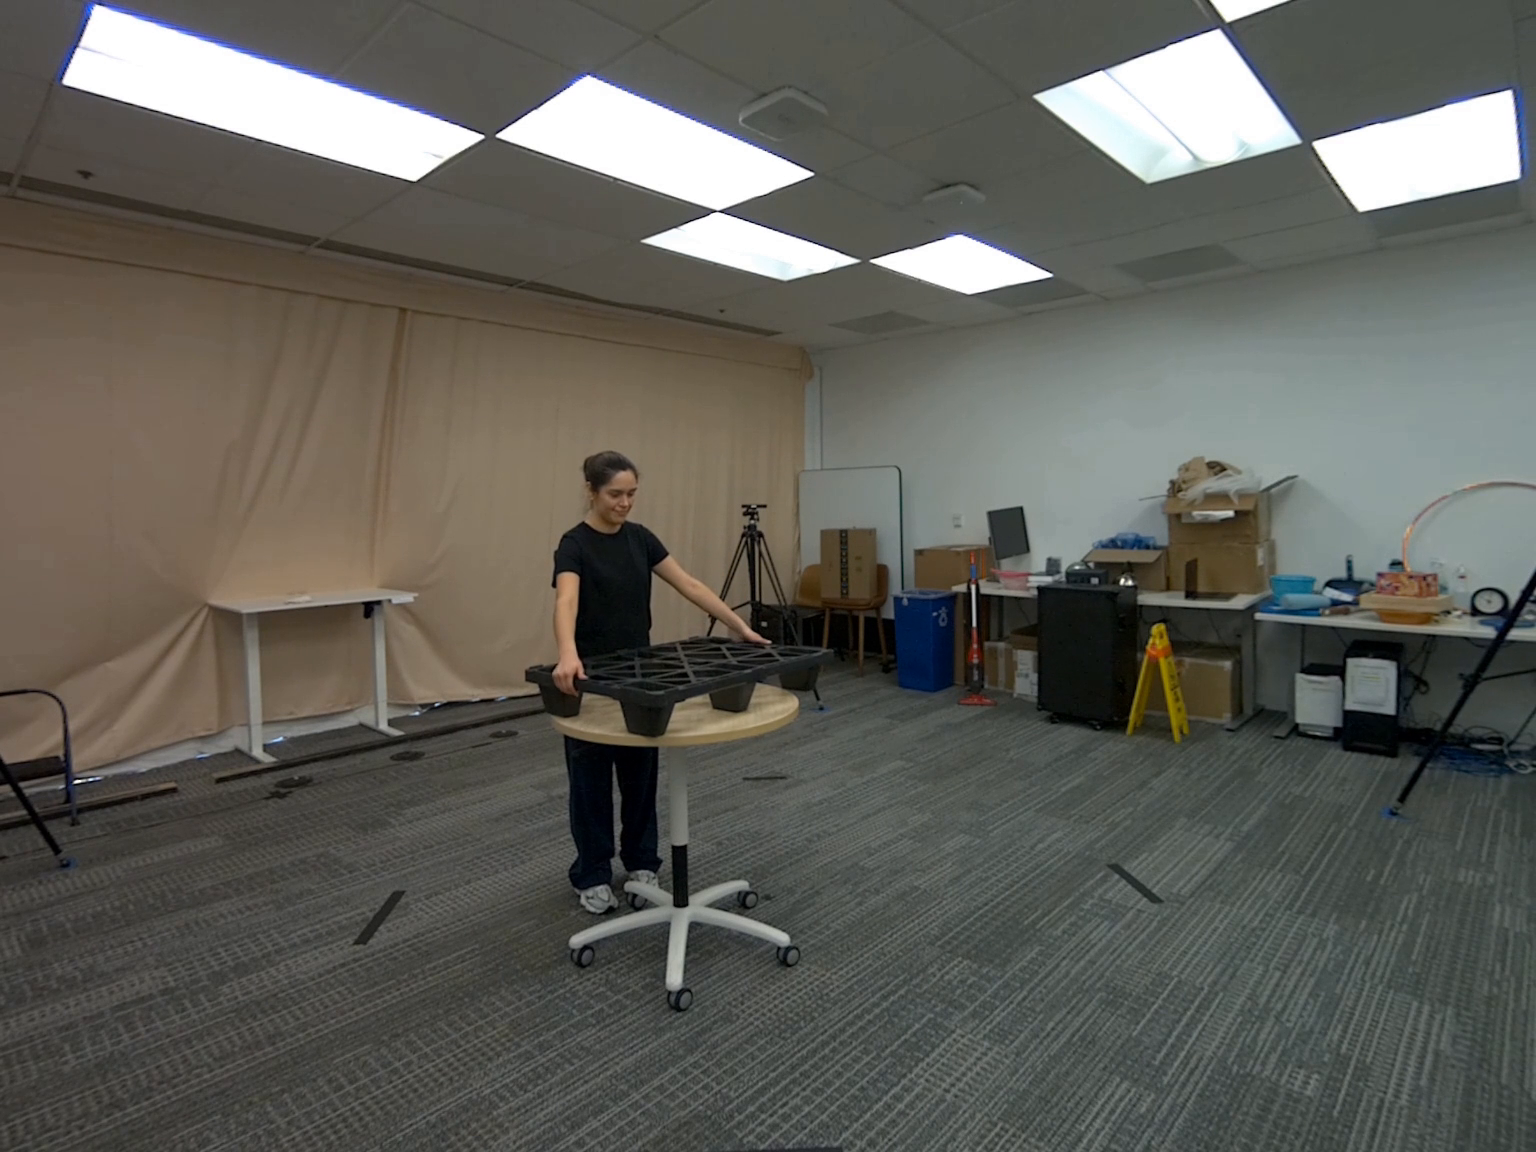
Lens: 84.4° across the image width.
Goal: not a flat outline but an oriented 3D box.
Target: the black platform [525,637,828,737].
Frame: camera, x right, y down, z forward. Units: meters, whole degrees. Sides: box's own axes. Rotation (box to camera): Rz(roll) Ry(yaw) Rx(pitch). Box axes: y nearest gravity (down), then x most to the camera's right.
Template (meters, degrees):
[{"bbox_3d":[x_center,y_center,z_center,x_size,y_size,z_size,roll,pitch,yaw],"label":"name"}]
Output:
[{"bbox_3d":[-0.247,0.328,2.638,0.625,0.143,0.781,2,5,40],"label":"black platform"}]
